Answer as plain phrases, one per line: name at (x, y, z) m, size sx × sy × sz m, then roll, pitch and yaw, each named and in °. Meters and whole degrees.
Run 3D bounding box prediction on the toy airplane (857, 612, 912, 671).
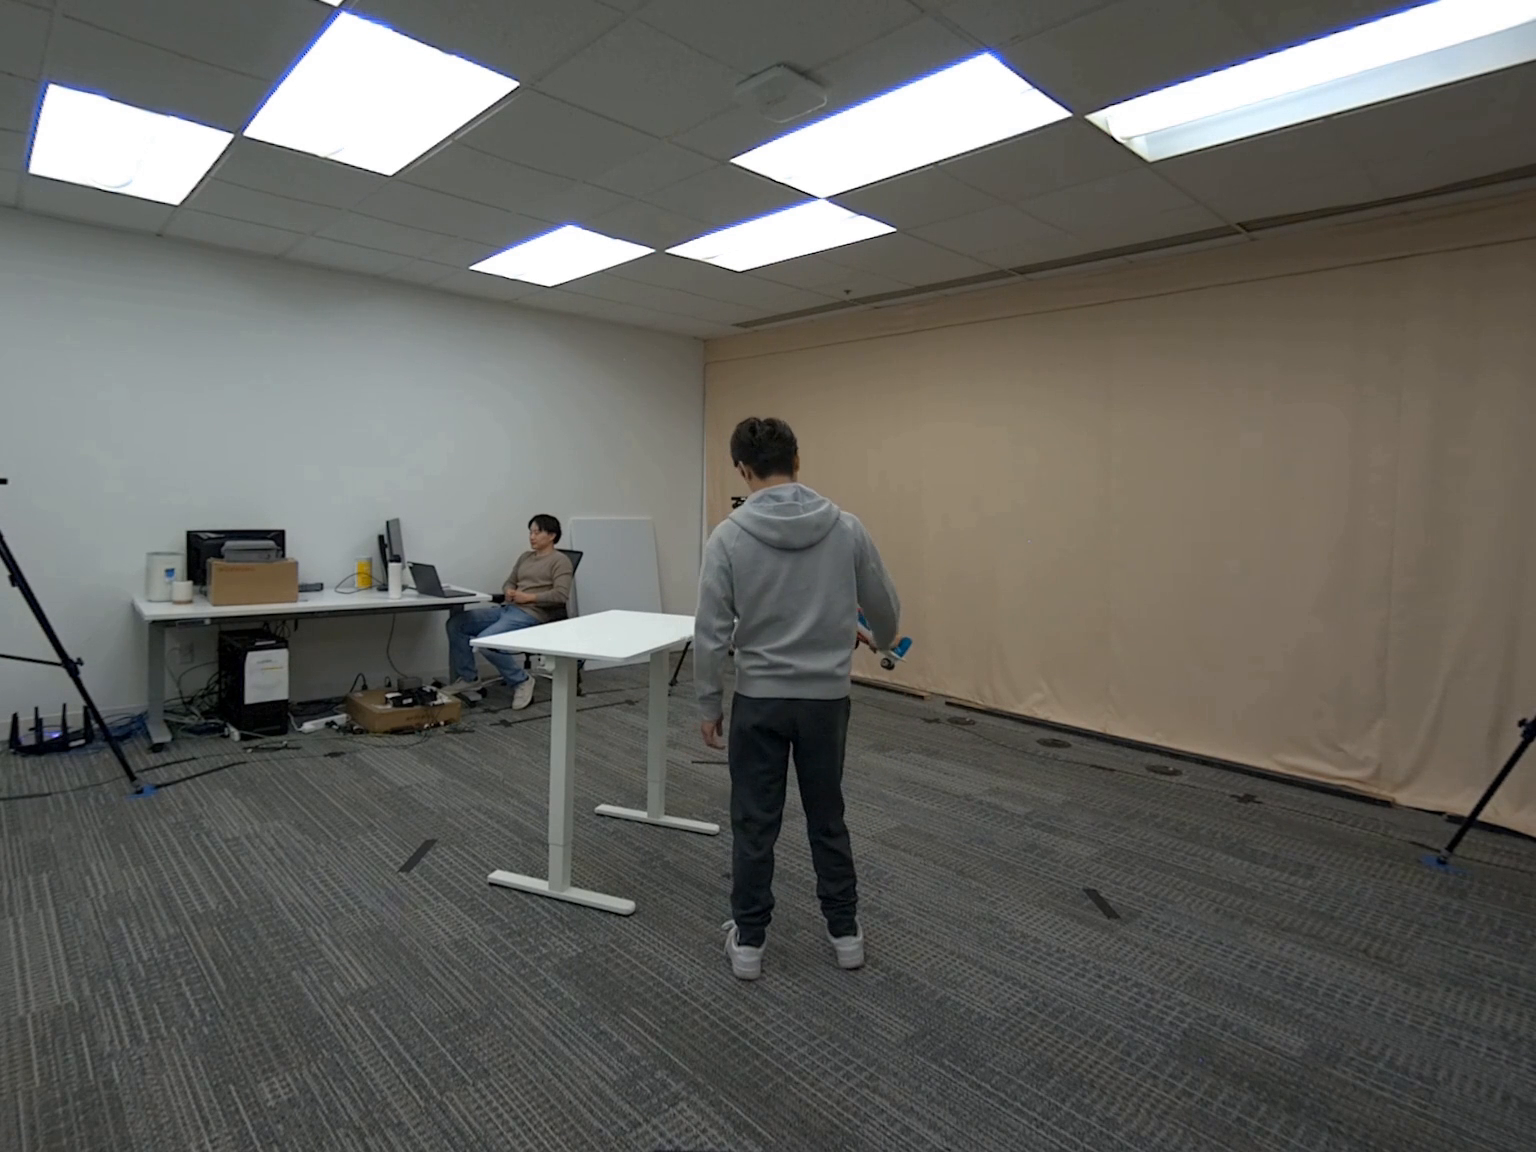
toy airplane at (0.368, 0.213, 2.912) m, size 0.261 × 0.156 × 0.249 m, roll 26°, pitch -1°, yaw 4°
